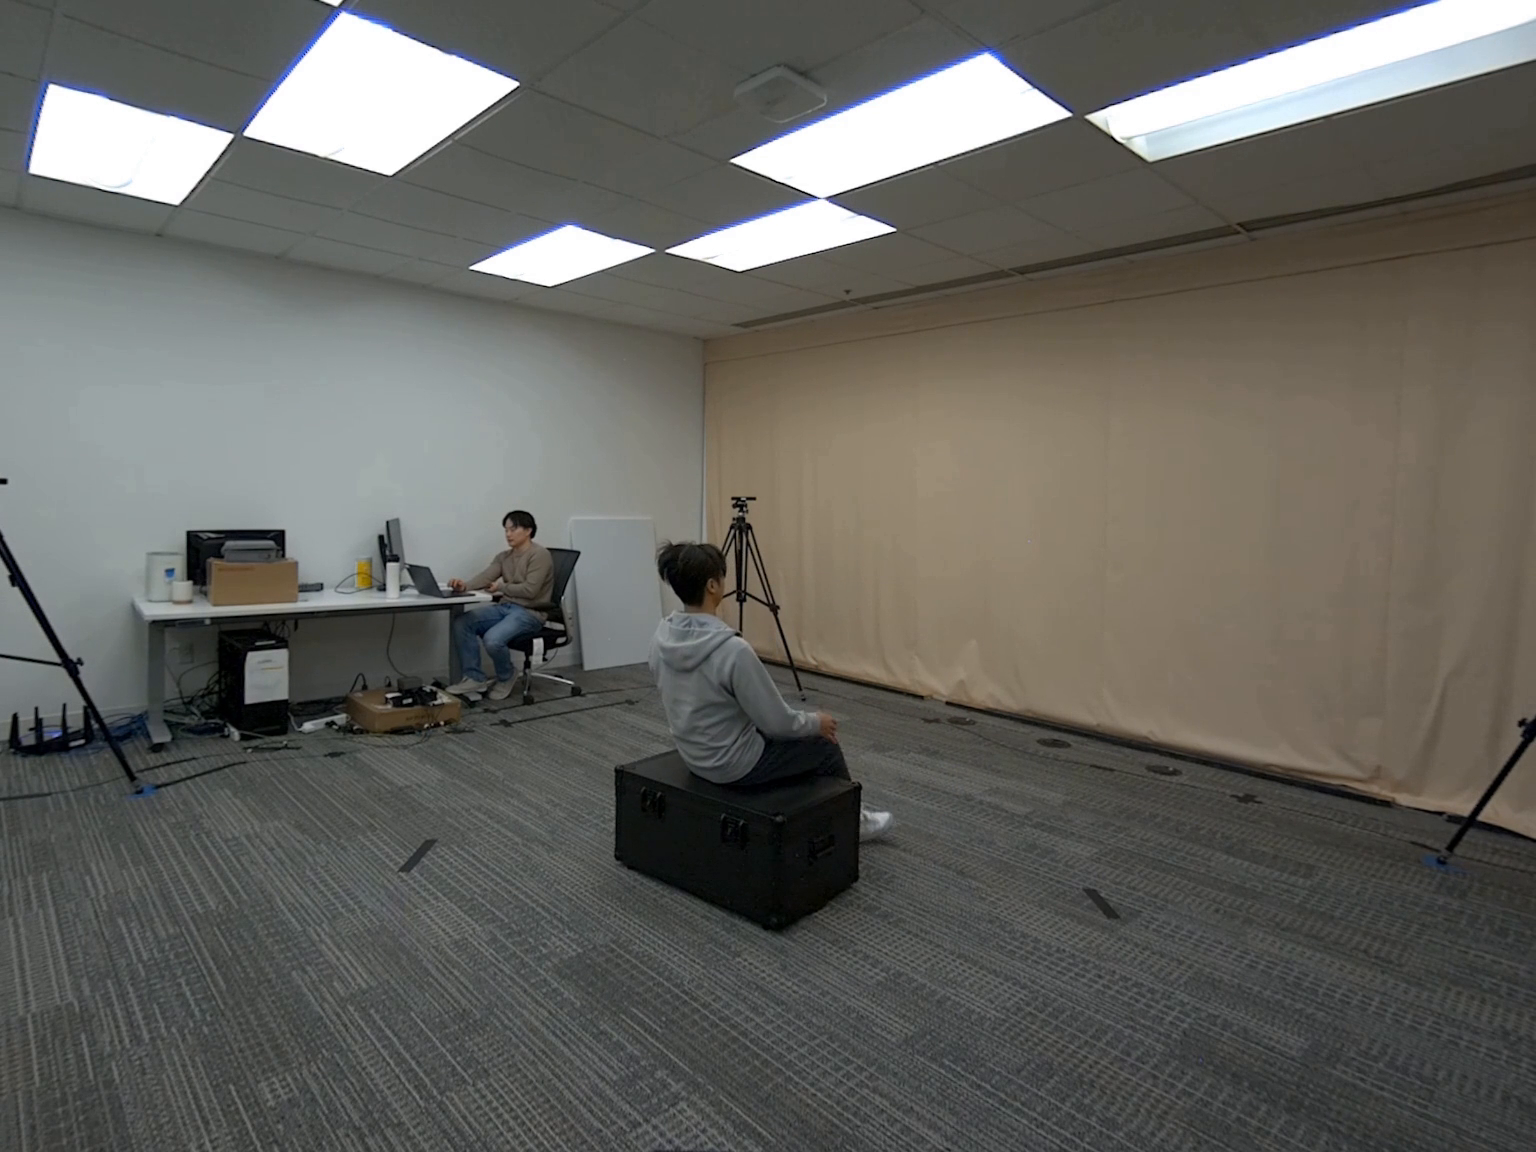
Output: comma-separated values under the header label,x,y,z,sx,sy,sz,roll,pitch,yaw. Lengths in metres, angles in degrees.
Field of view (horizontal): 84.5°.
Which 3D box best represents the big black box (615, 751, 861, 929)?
label,x,y,z,sx,sy,sz,roll,pitch,yaw
big black box,-0.109,0.926,3.067,0.883,0.395,0.510,5,6,40
